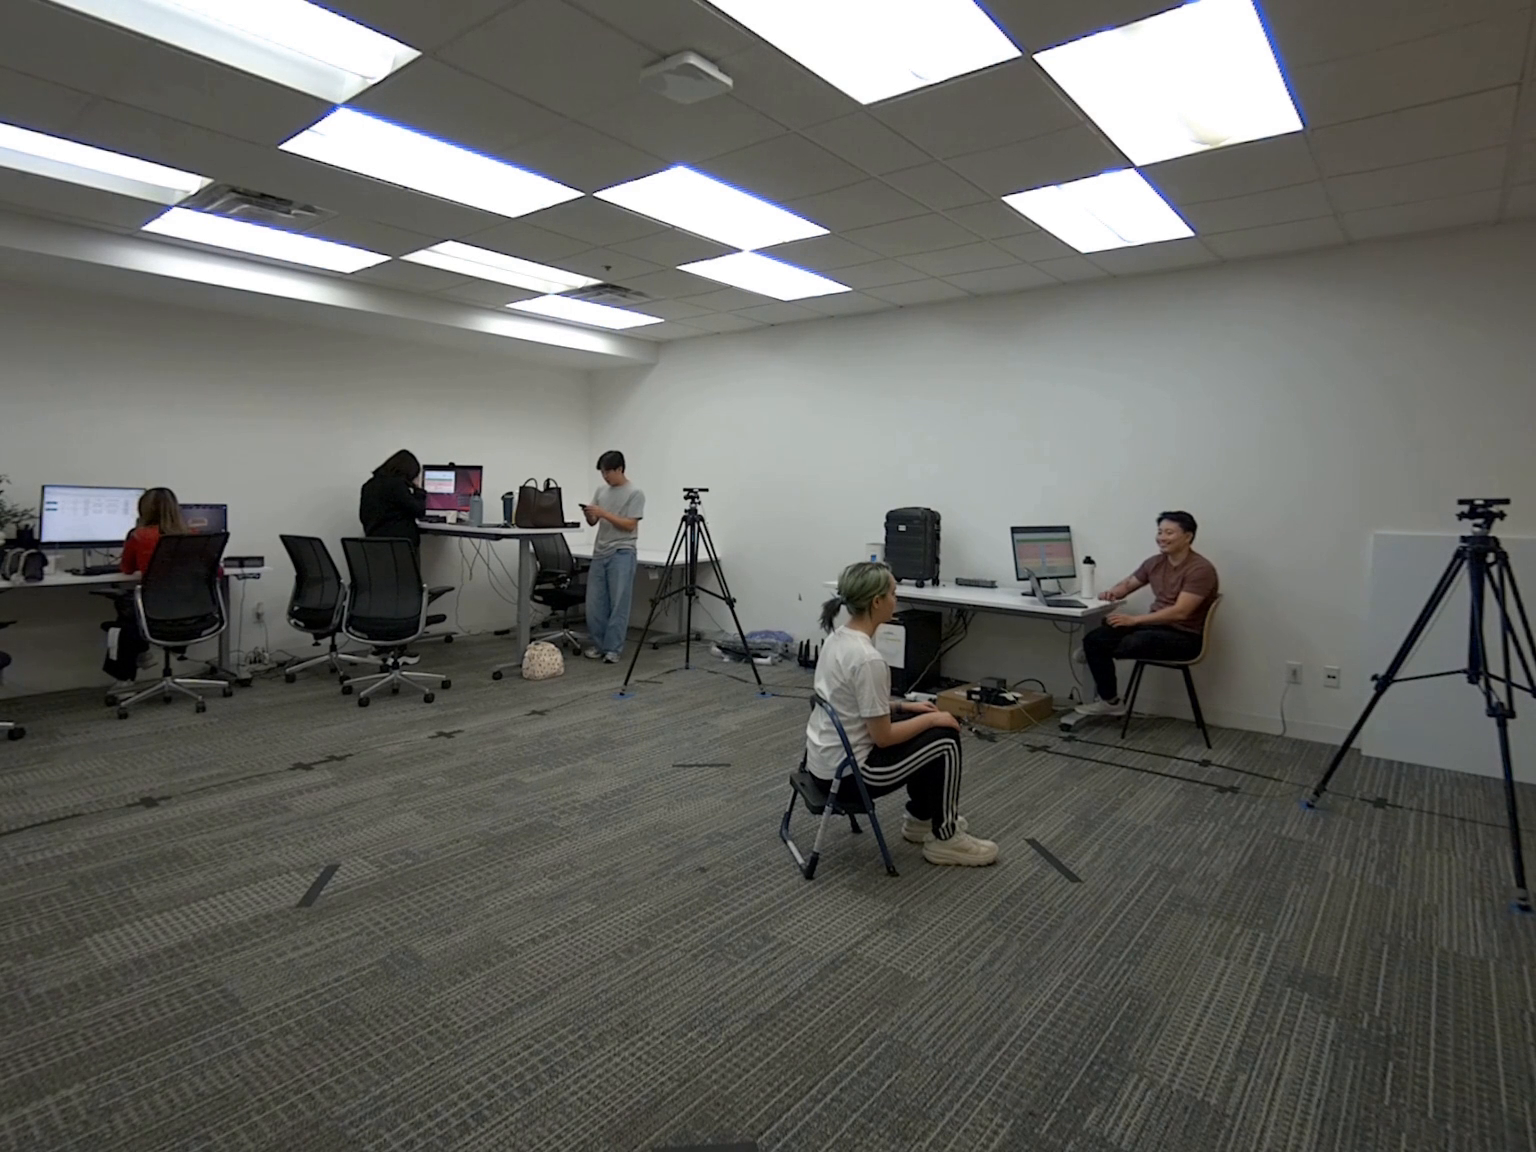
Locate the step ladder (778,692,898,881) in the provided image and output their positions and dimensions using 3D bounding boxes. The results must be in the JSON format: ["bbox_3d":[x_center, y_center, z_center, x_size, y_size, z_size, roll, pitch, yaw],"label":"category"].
[{"bbox_3d":[0.257,0.770,3.259,0.345,0.604,0.437,2,4,-13],"label":"step ladder"}]
